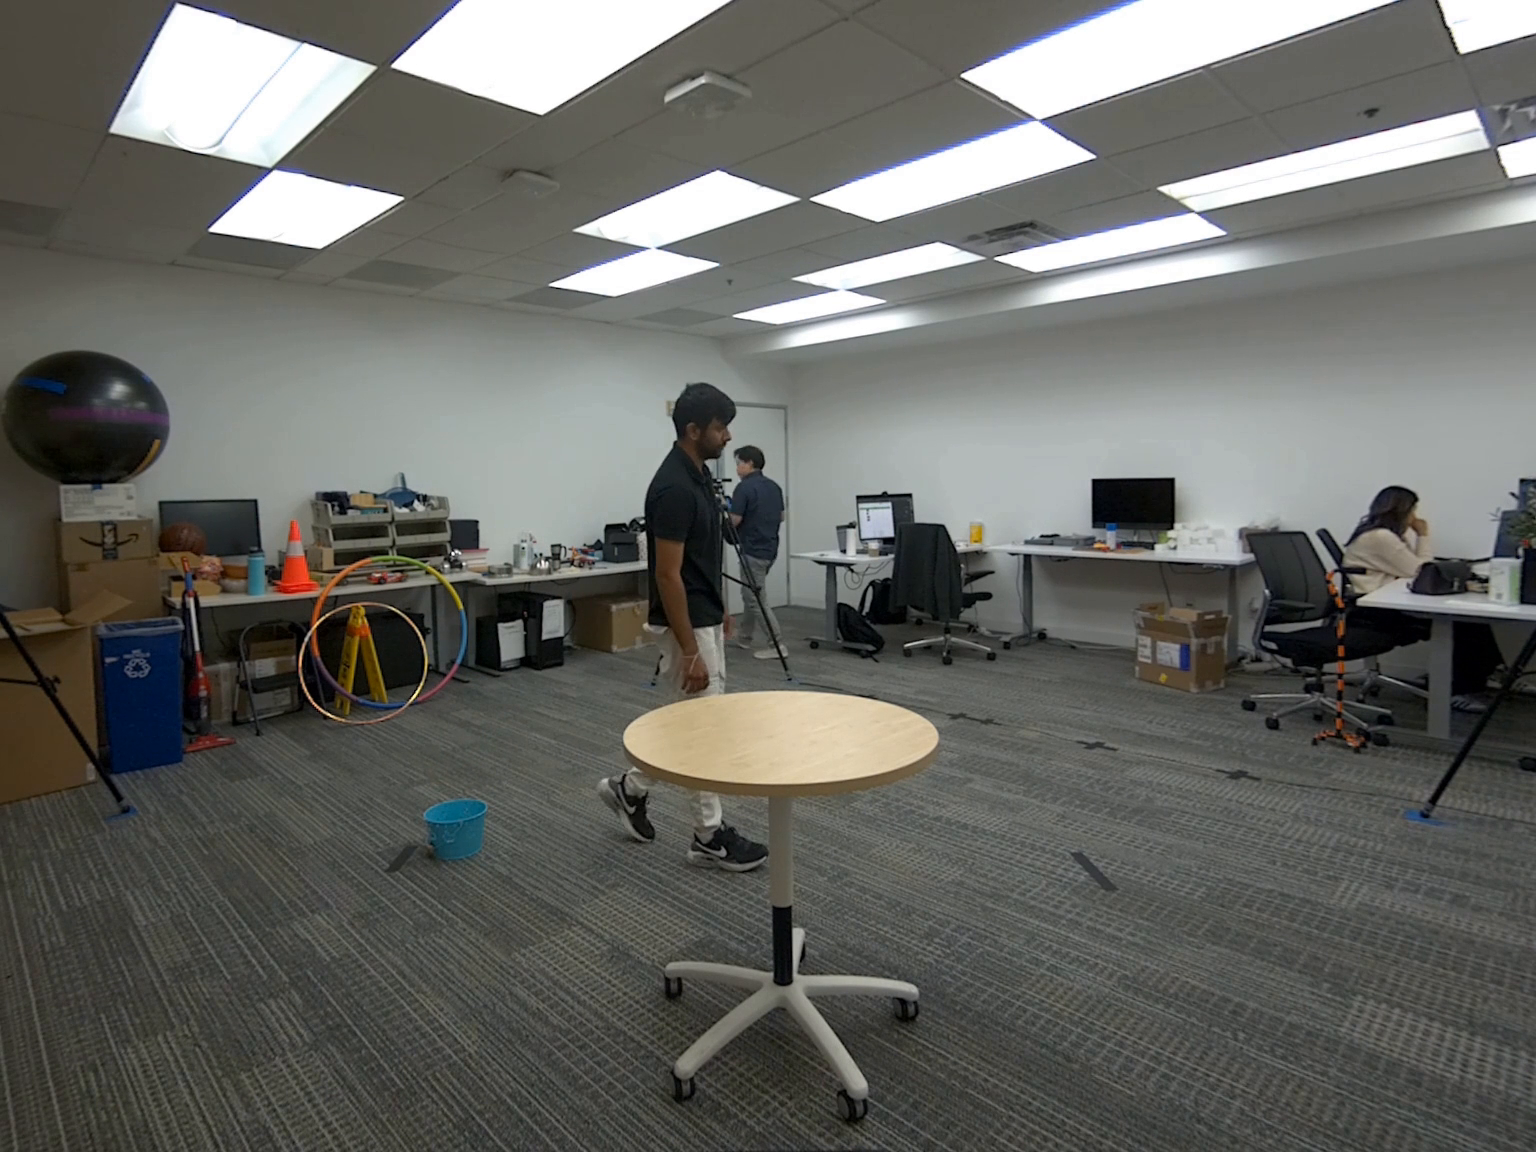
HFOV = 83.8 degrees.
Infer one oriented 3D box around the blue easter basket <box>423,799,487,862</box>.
[{"bbox_3d":[-1.195,0.970,3.278,0.243,0.155,0.245,-2,6,-1],"label":"blue easter basket"}]
